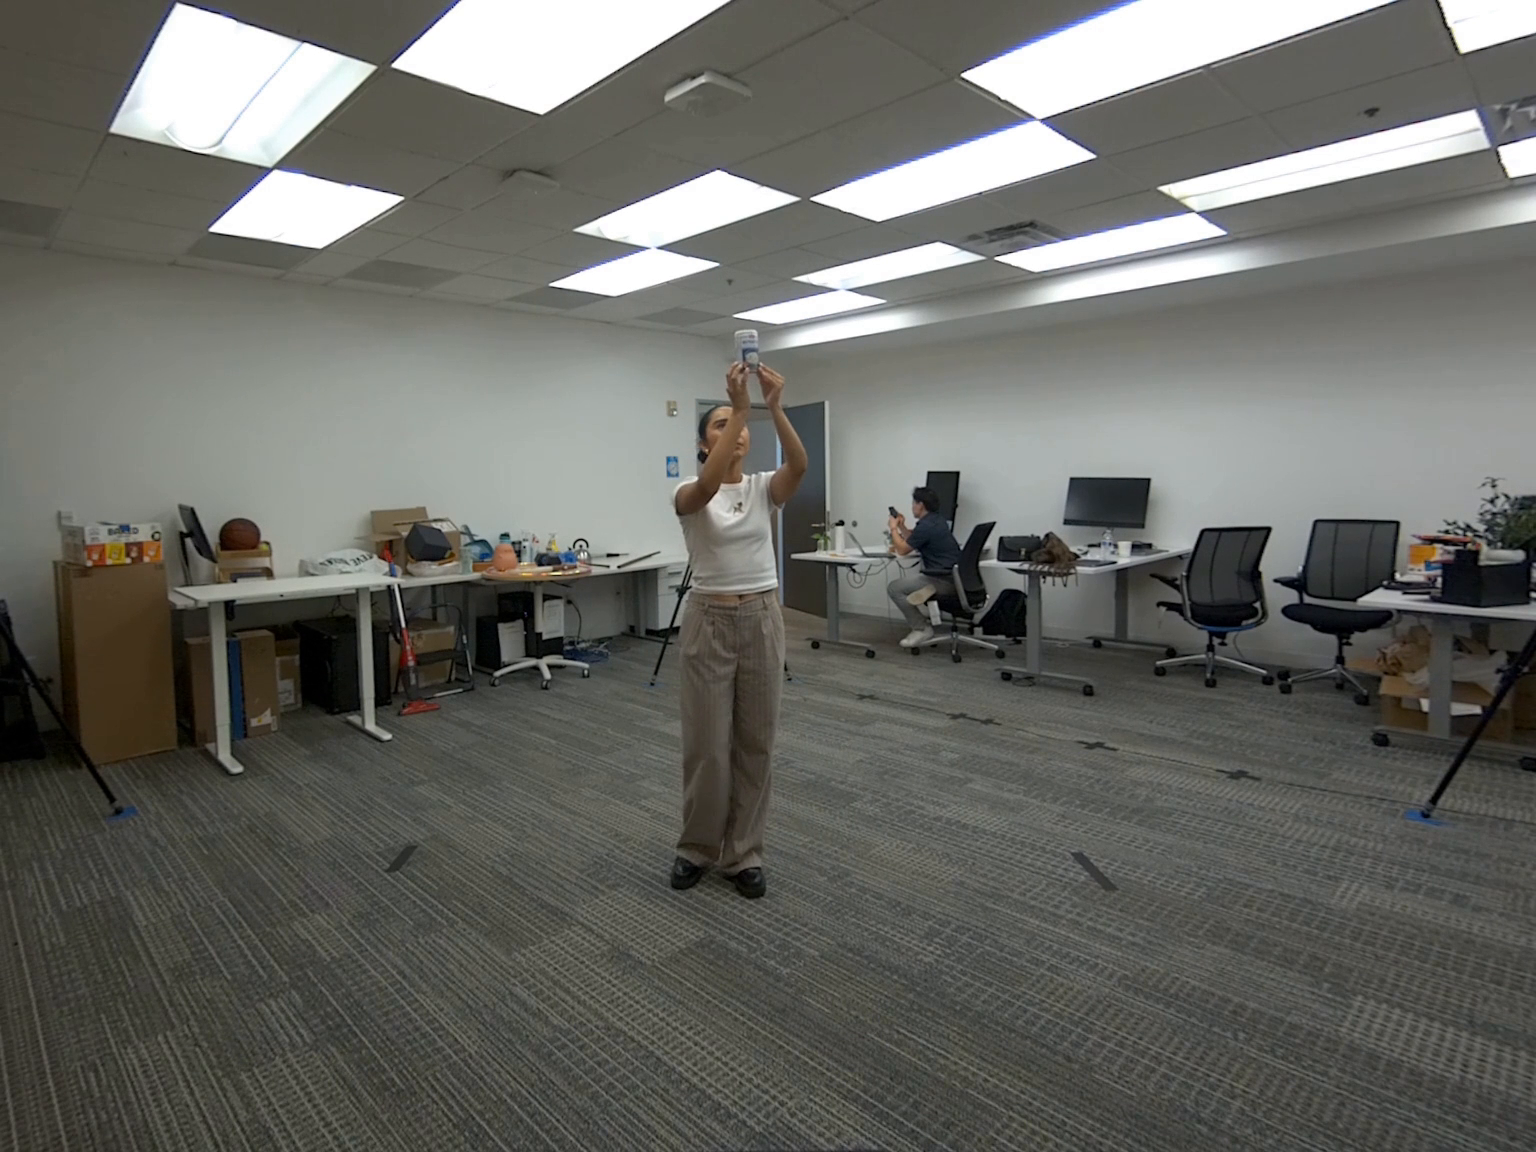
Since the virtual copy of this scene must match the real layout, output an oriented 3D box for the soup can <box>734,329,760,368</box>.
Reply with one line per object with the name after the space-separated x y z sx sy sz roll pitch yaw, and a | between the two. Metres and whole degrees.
-0.061 -0.662 2.511 0.067 0.121 0.067 -4 6 -1 | soup can
